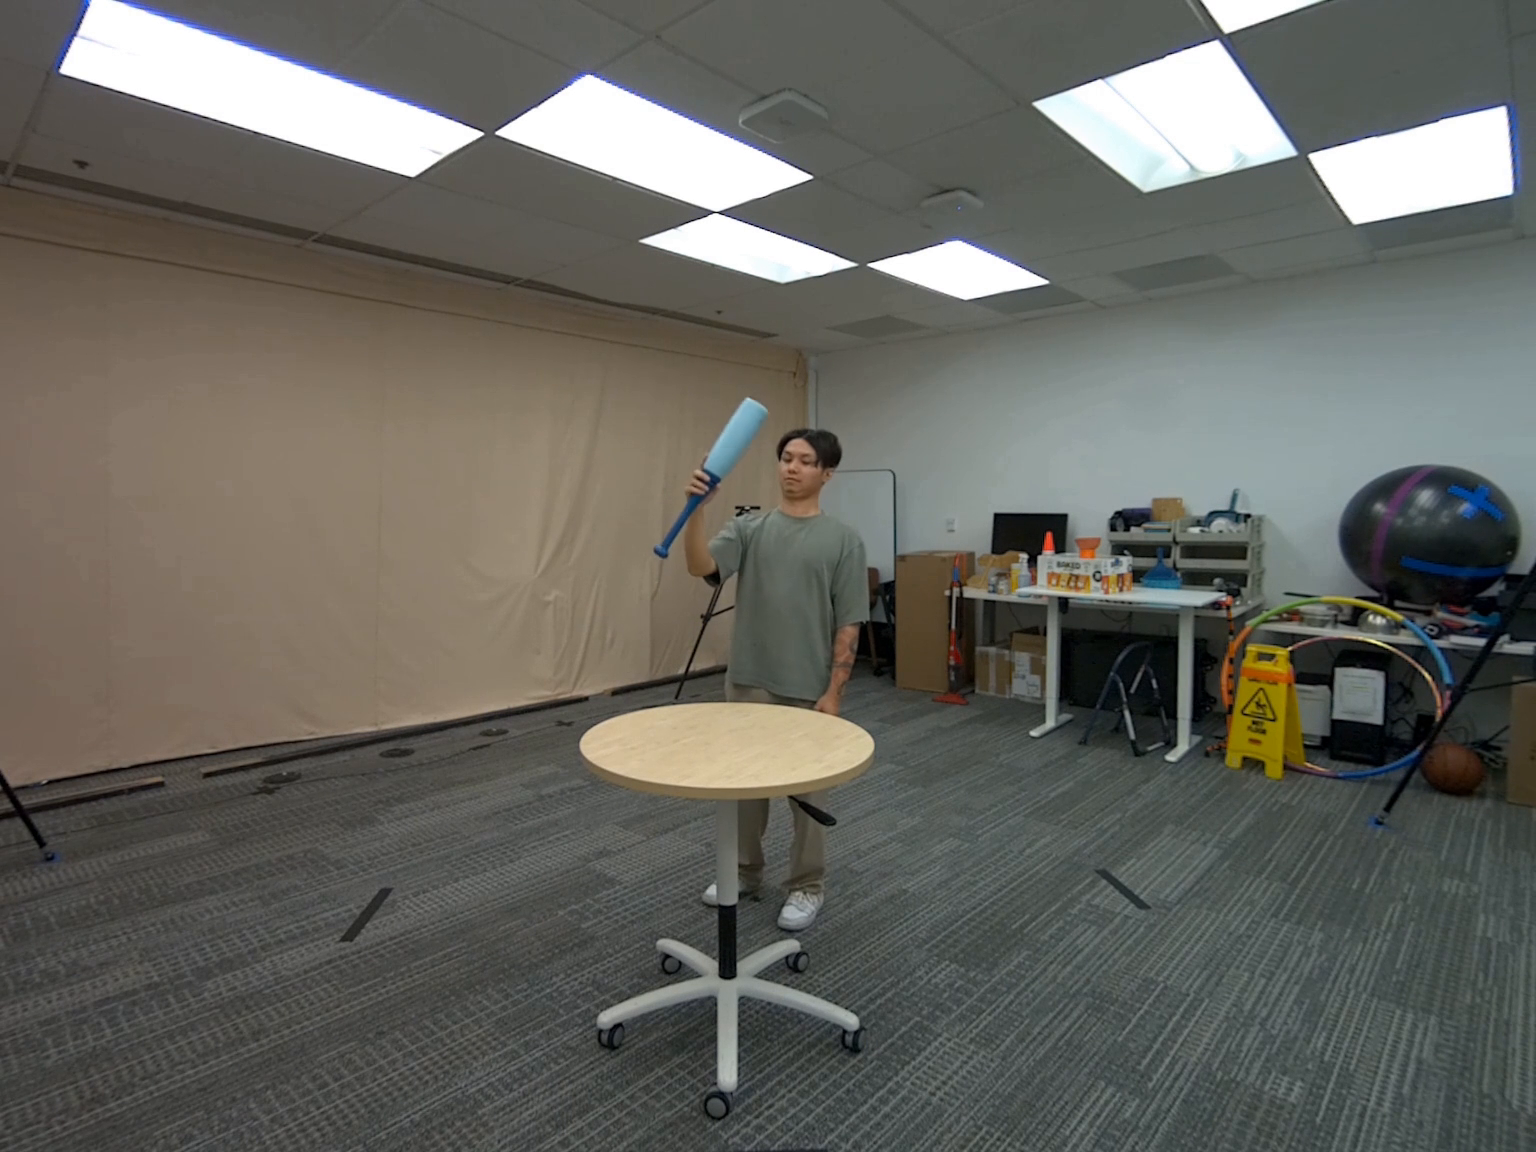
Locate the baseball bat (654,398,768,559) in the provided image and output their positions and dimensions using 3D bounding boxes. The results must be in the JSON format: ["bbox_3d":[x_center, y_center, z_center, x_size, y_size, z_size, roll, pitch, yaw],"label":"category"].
[{"bbox_3d":[-0.178,-0.270,2.511,0.089,0.543,0.089,33,1,-3],"label":"baseball bat"}]
